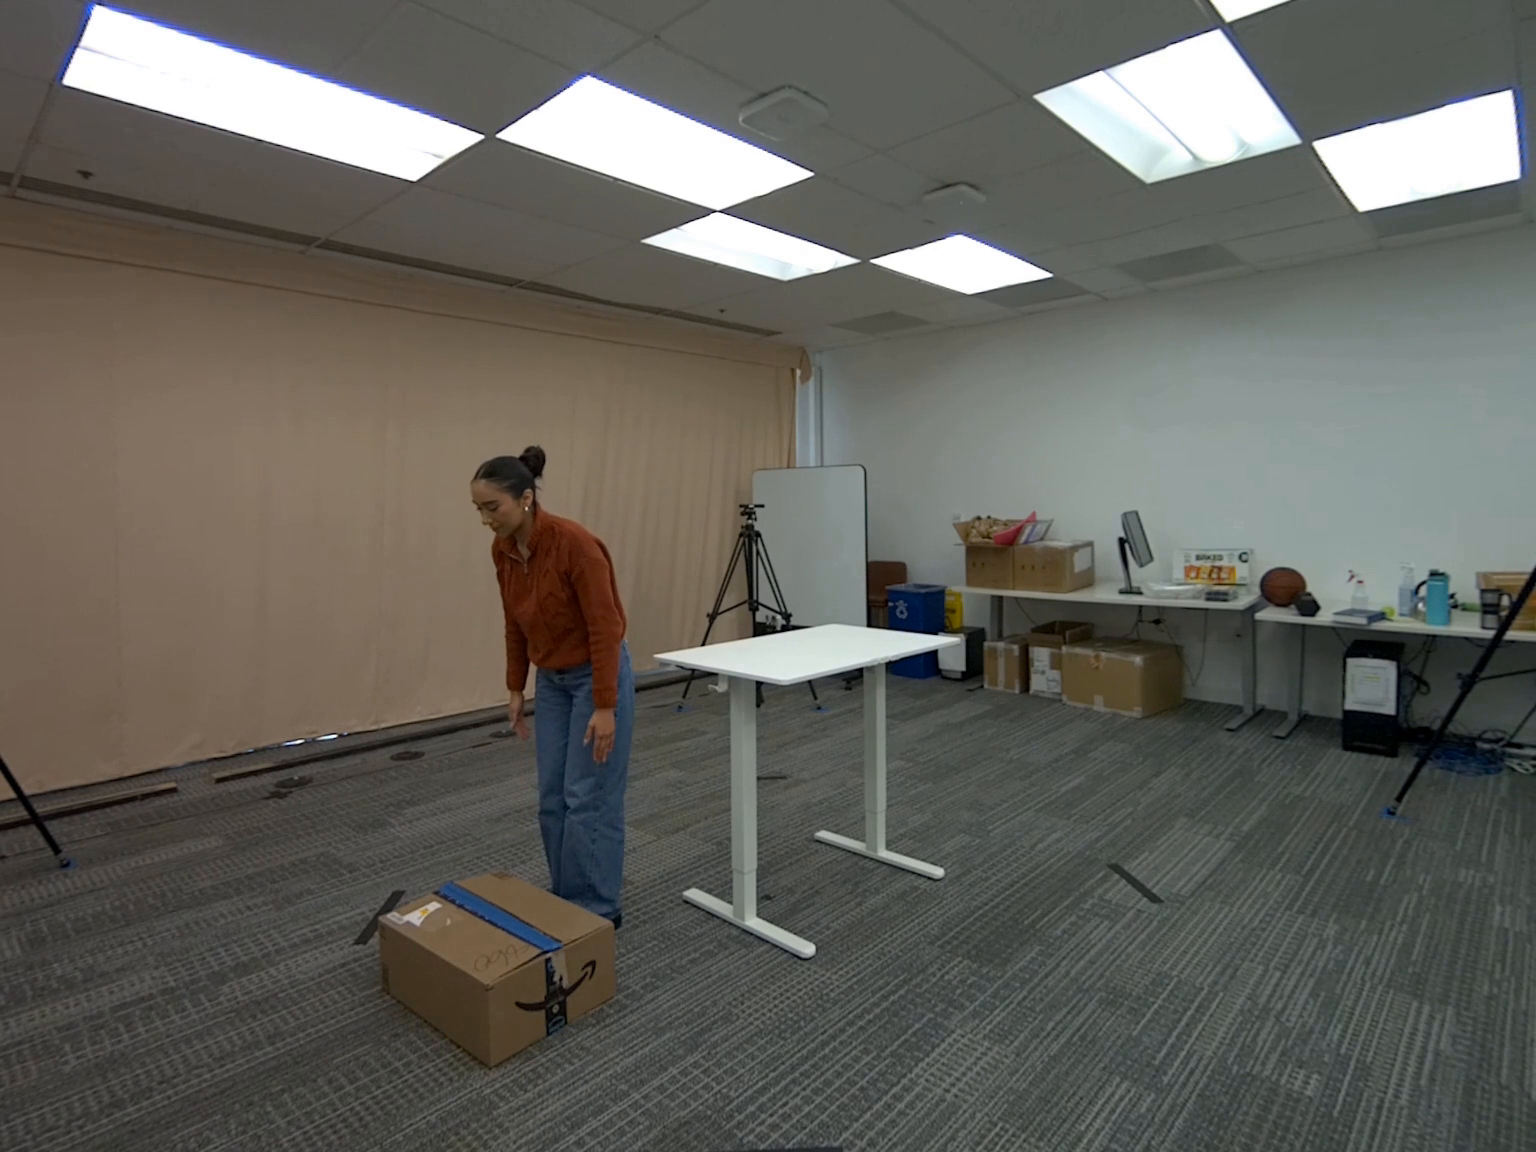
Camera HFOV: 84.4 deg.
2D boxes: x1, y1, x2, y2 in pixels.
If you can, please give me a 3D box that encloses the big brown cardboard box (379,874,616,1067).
[{"bbox_3d":[-0.789,1.092,2.426,0.608,0.232,0.405,4,7,39],"label":"big brown cardboard box"}]
